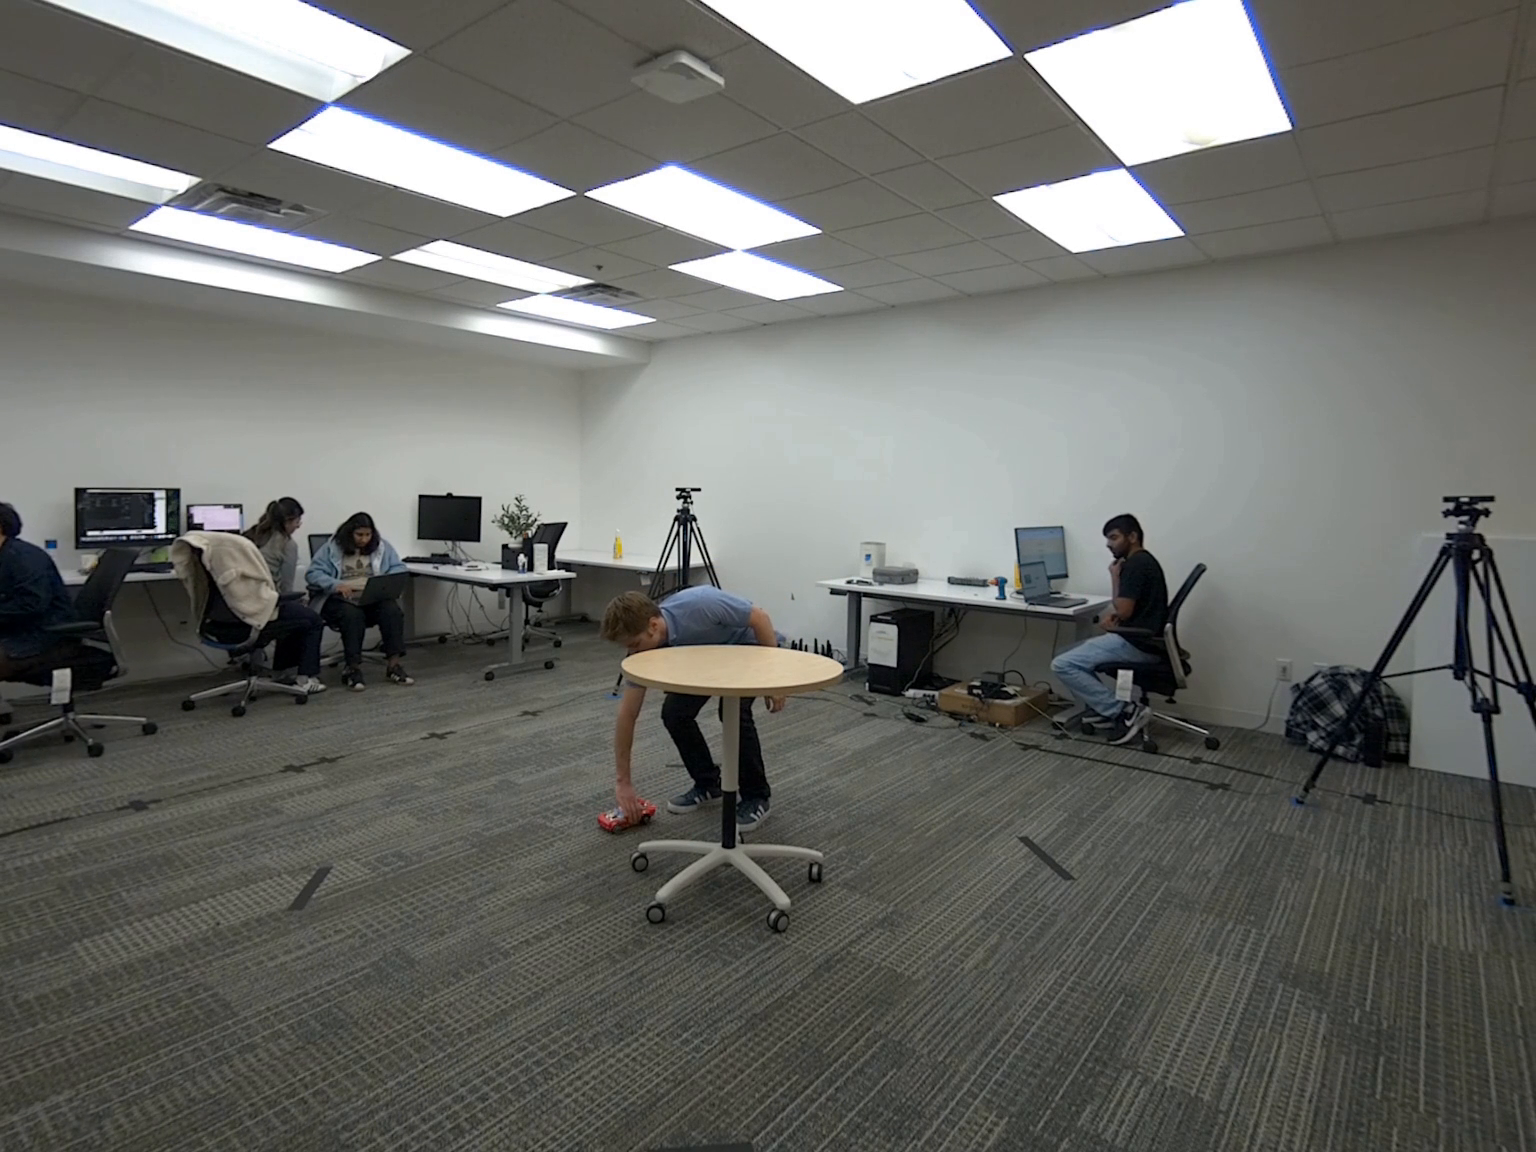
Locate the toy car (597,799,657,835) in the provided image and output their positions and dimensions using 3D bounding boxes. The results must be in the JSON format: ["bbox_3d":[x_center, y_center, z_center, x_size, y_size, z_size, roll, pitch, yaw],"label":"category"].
[{"bbox_3d":[-0.588,0.990,3.514,0.249,0.082,0.135,-18,19,-41],"label":"toy car"}]
